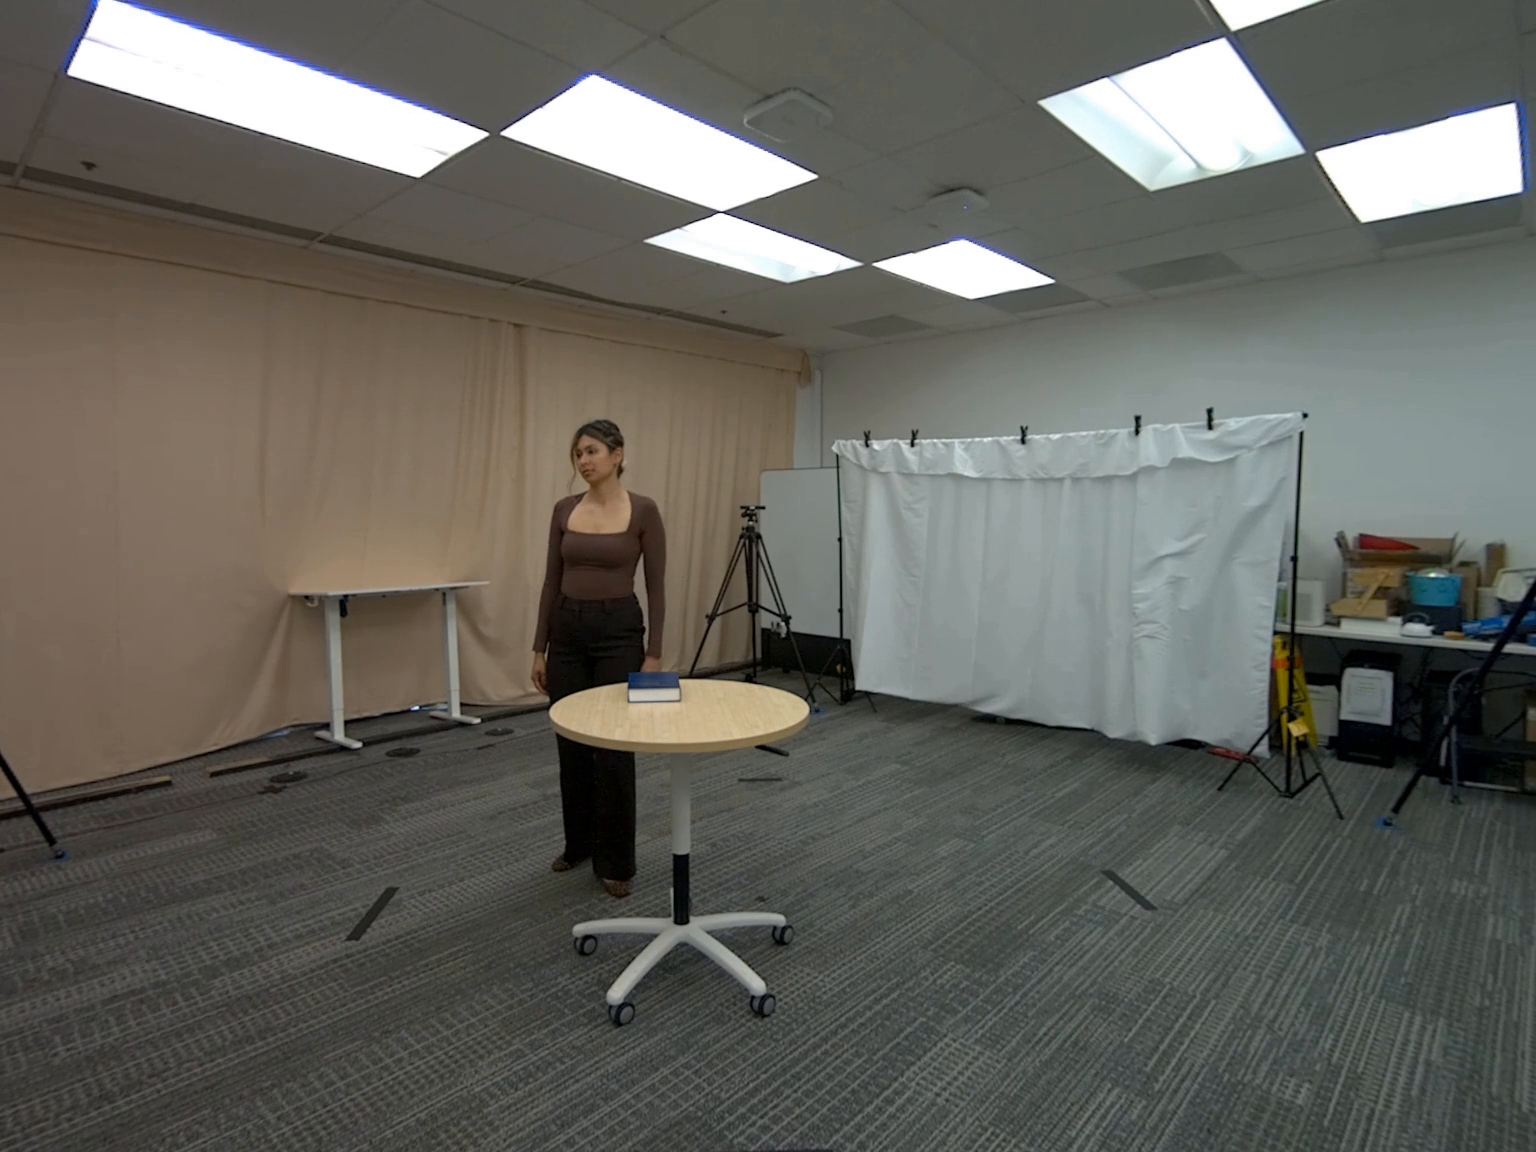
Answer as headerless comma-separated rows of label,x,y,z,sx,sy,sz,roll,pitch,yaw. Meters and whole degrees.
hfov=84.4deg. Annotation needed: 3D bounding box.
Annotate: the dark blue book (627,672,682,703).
dark blue book,-0.362,0.353,2.668,0.162,0.045,0.247,-1,5,-8
